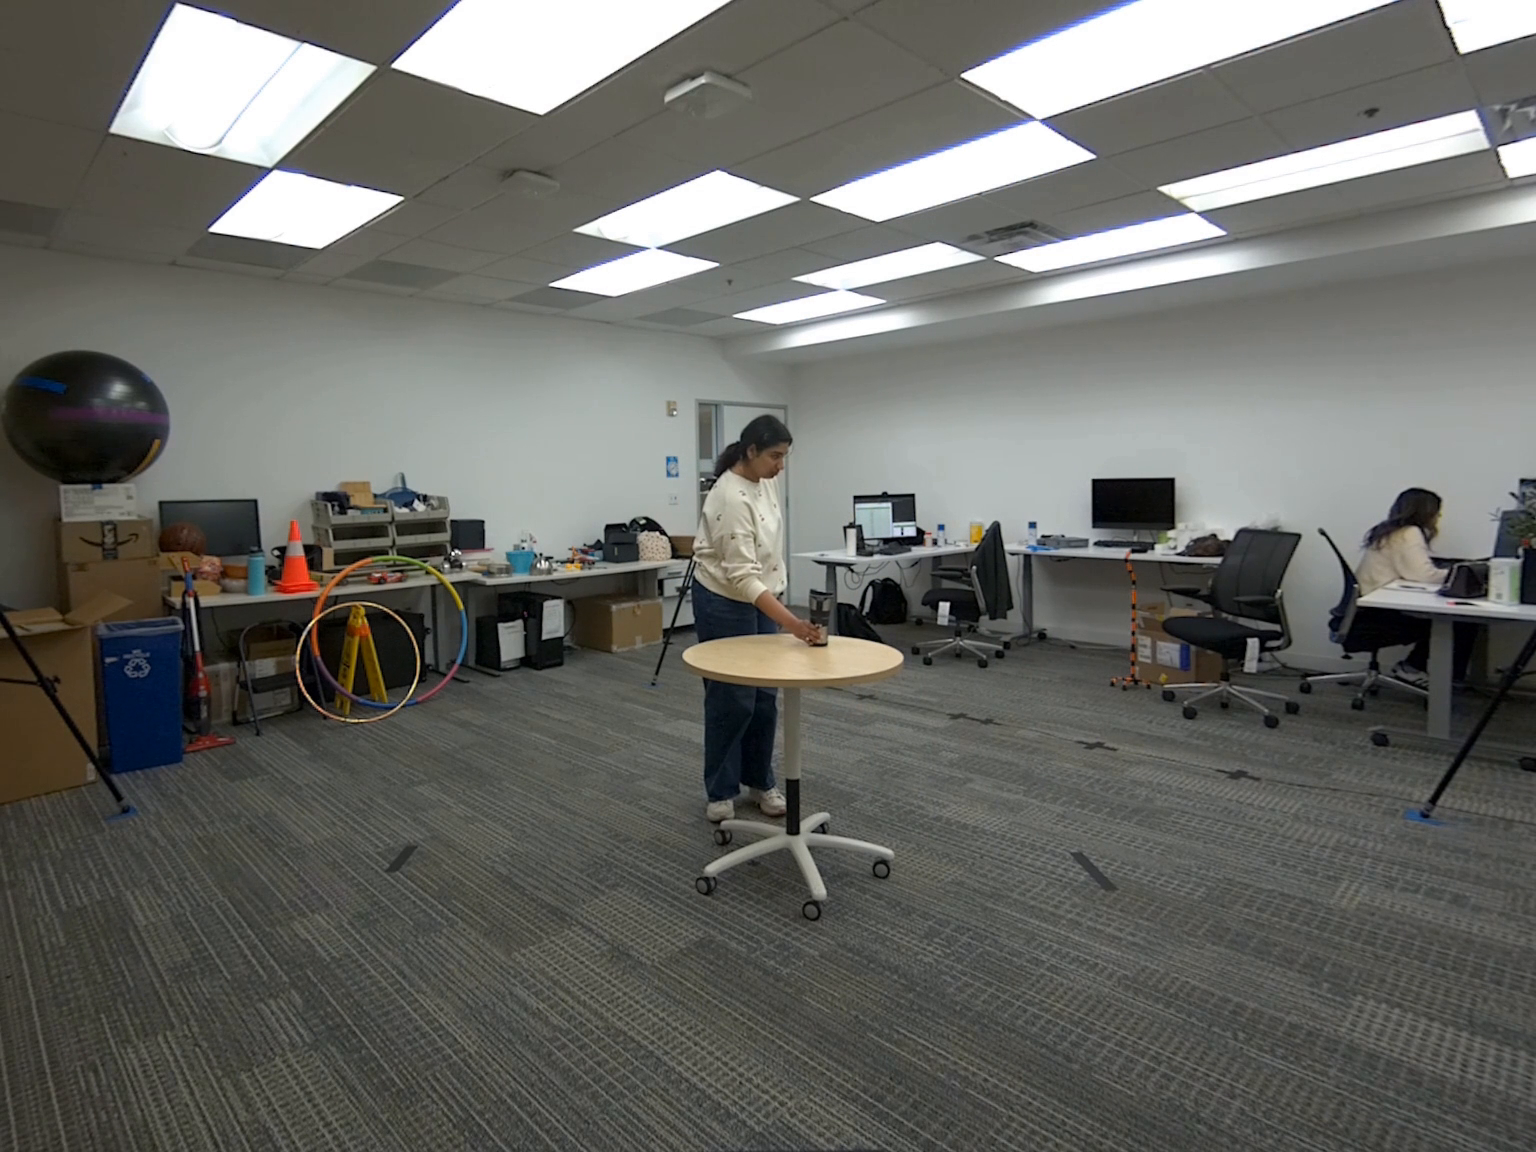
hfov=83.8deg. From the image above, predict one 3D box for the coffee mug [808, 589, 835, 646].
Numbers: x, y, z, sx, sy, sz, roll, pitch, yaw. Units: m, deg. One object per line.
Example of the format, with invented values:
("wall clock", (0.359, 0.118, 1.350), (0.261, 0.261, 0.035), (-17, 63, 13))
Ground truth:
("coffee mug", (0.180, 0.156, 3.108), (0.091, 0.202, 0.119), (8, 7, 36))
